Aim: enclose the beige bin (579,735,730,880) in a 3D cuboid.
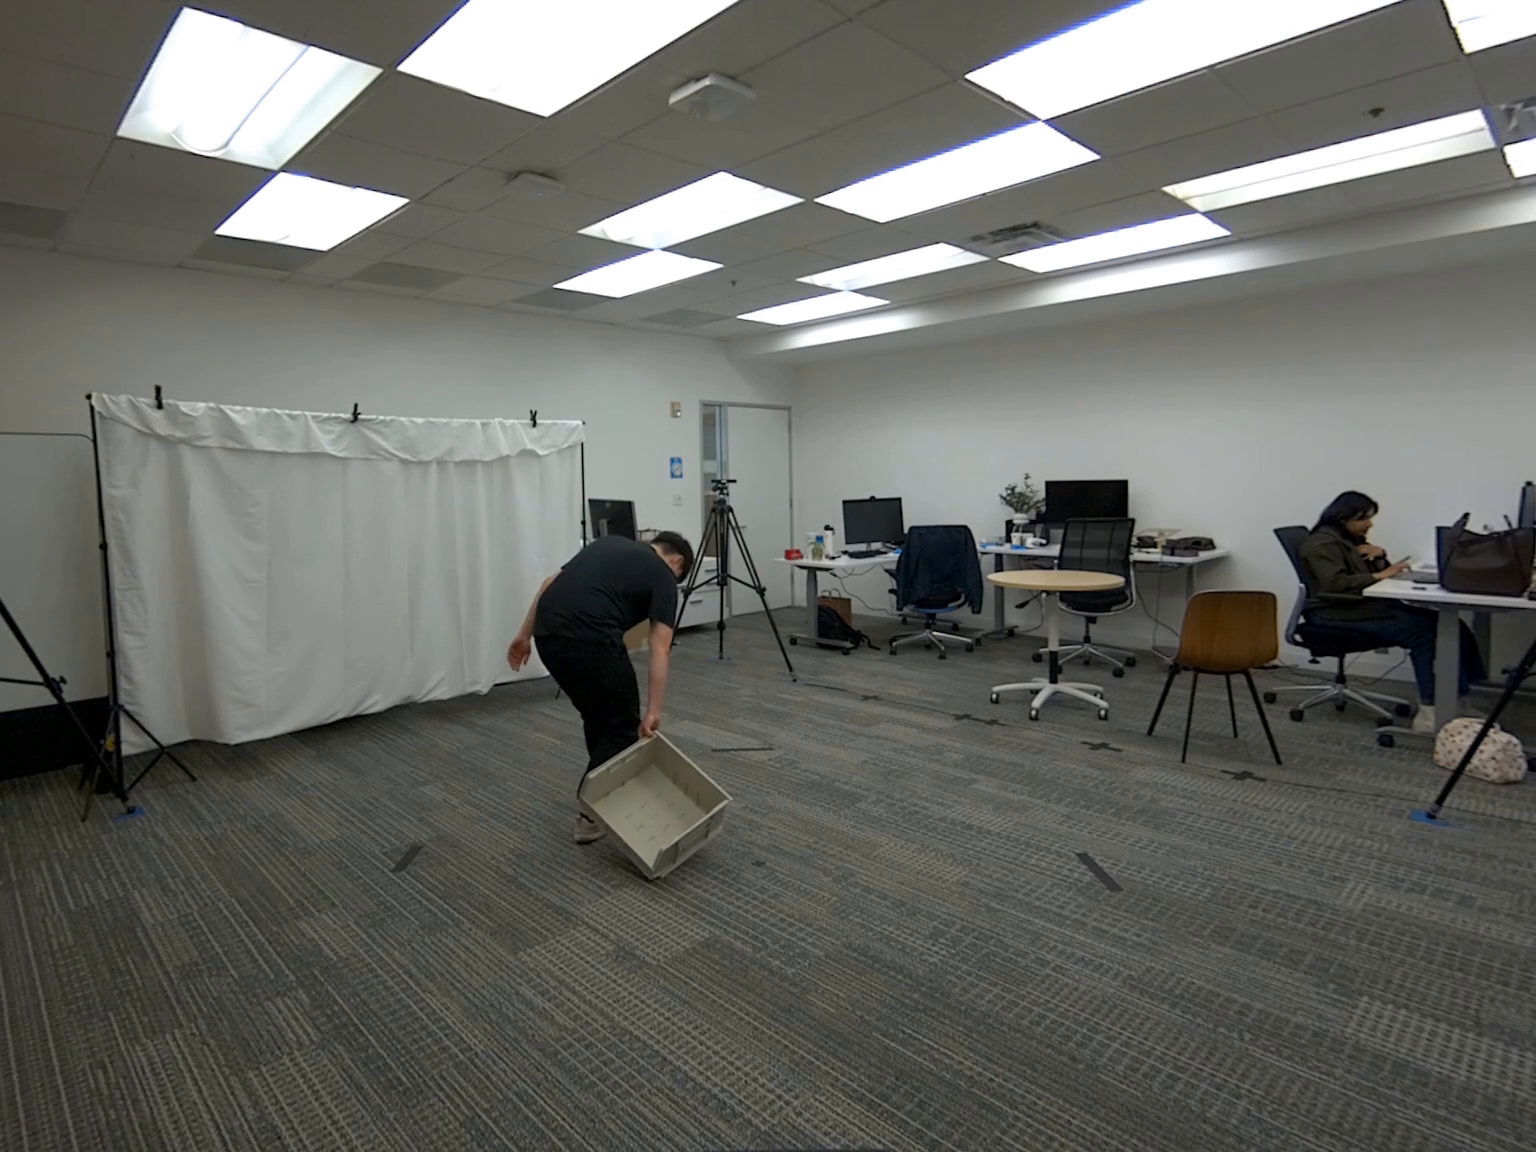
[{"bbox_3d":[-0.419,0.841,3.153,0.437,0.185,0.372,33,40,31],"label":"beige bin"}]
